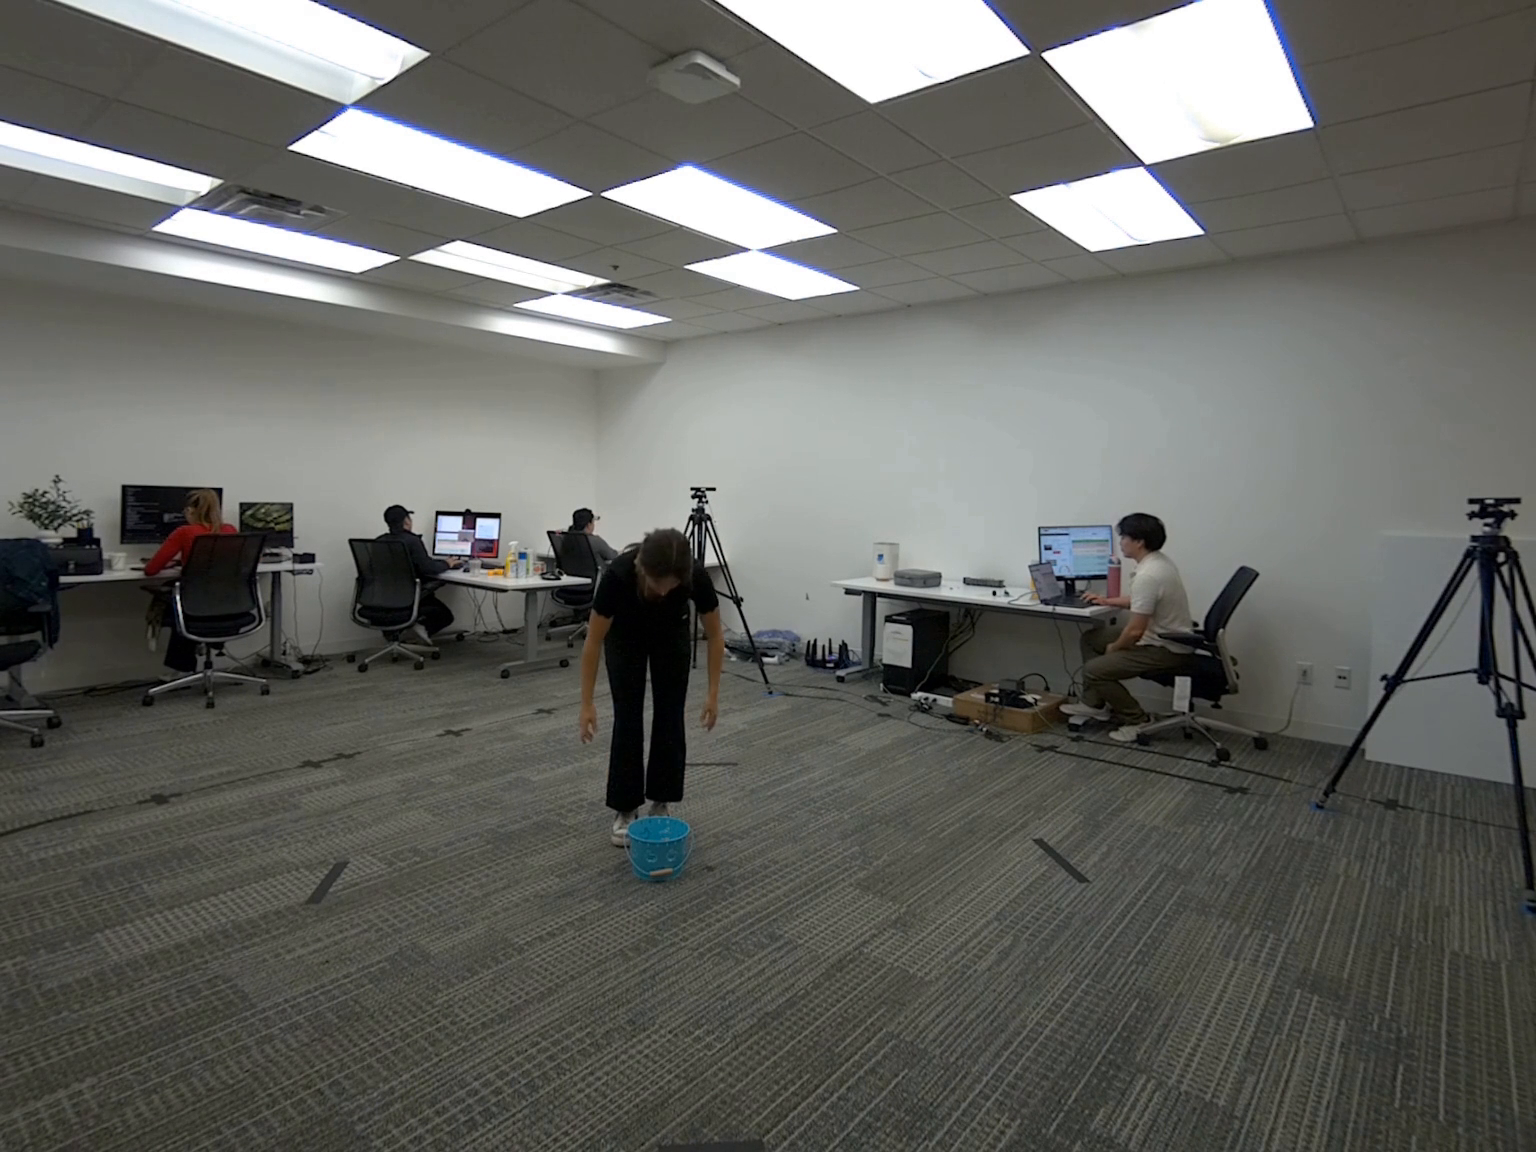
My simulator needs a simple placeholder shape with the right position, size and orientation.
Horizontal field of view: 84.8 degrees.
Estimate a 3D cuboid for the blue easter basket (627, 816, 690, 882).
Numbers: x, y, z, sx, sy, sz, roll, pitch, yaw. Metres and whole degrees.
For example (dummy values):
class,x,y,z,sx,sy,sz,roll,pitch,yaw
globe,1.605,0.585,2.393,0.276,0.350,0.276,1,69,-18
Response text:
class,x,y,z,sx,sy,sz,roll,pitch,yaw
blue easter basket,-0.415,0.986,3.081,0.243,0.155,0.245,0,4,-2
